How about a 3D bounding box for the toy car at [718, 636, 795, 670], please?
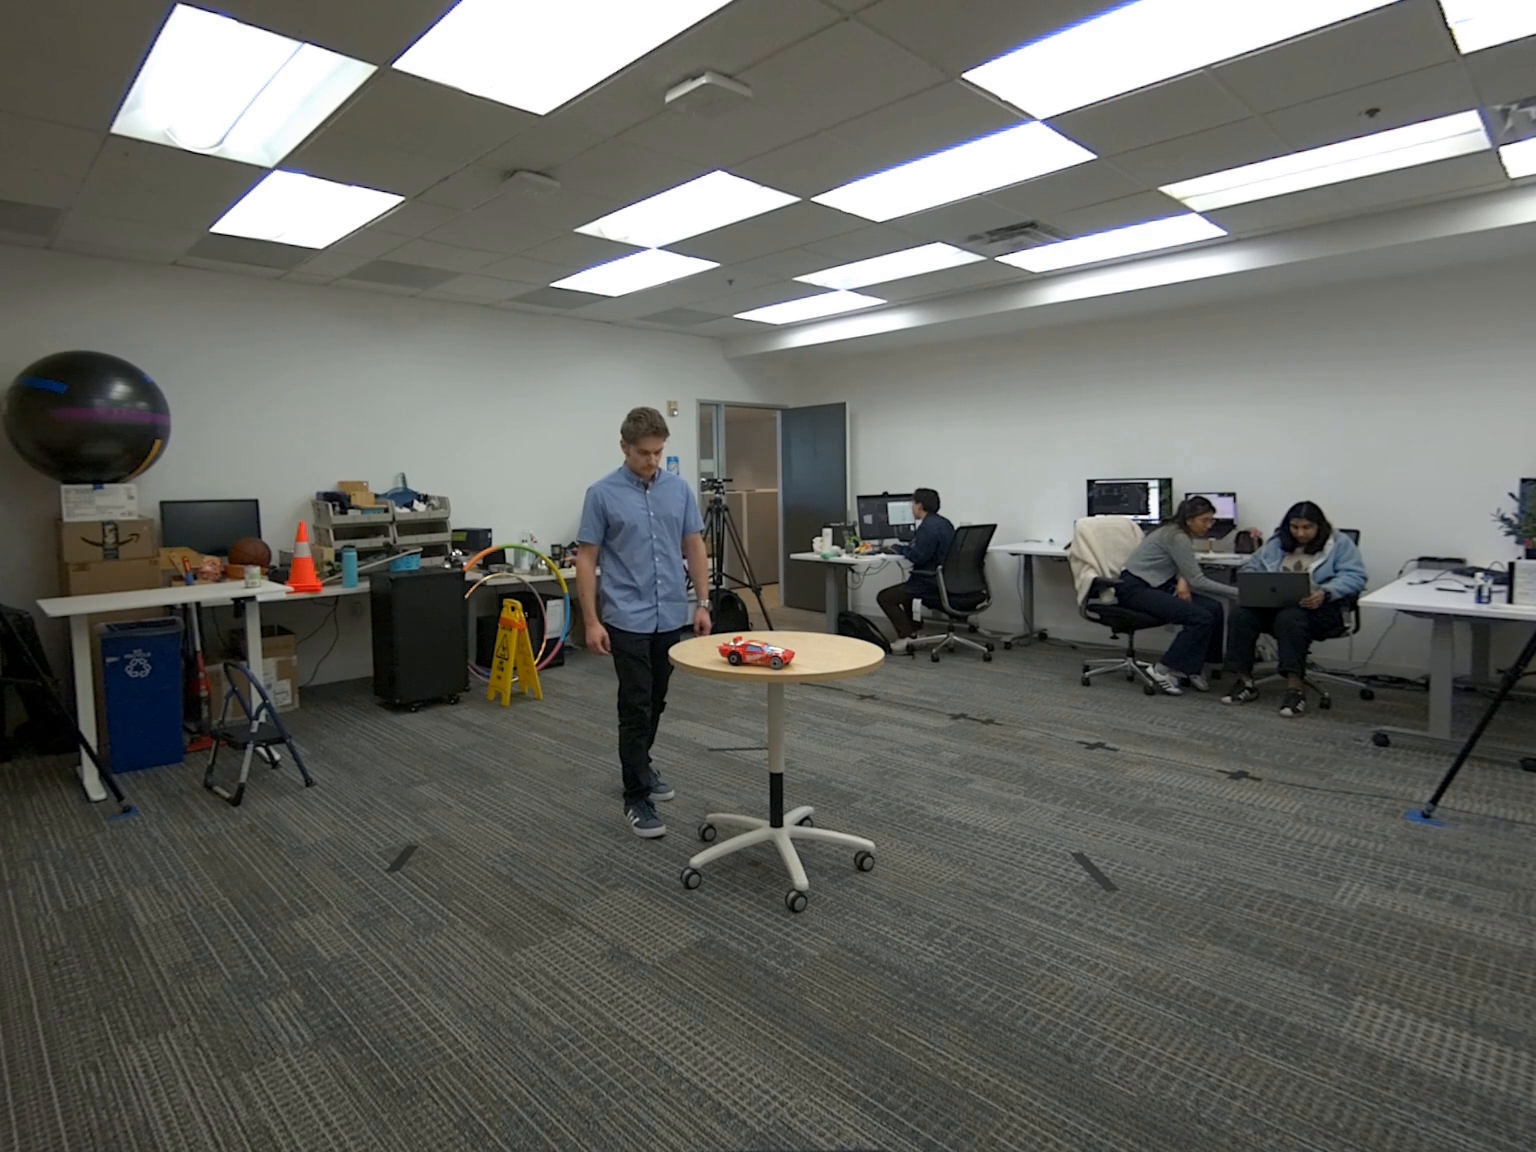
[{"bbox_3d":[-0.038,0.261,2.826,0.261,0.083,0.128,14,10,22],"label":"toy car"}]
